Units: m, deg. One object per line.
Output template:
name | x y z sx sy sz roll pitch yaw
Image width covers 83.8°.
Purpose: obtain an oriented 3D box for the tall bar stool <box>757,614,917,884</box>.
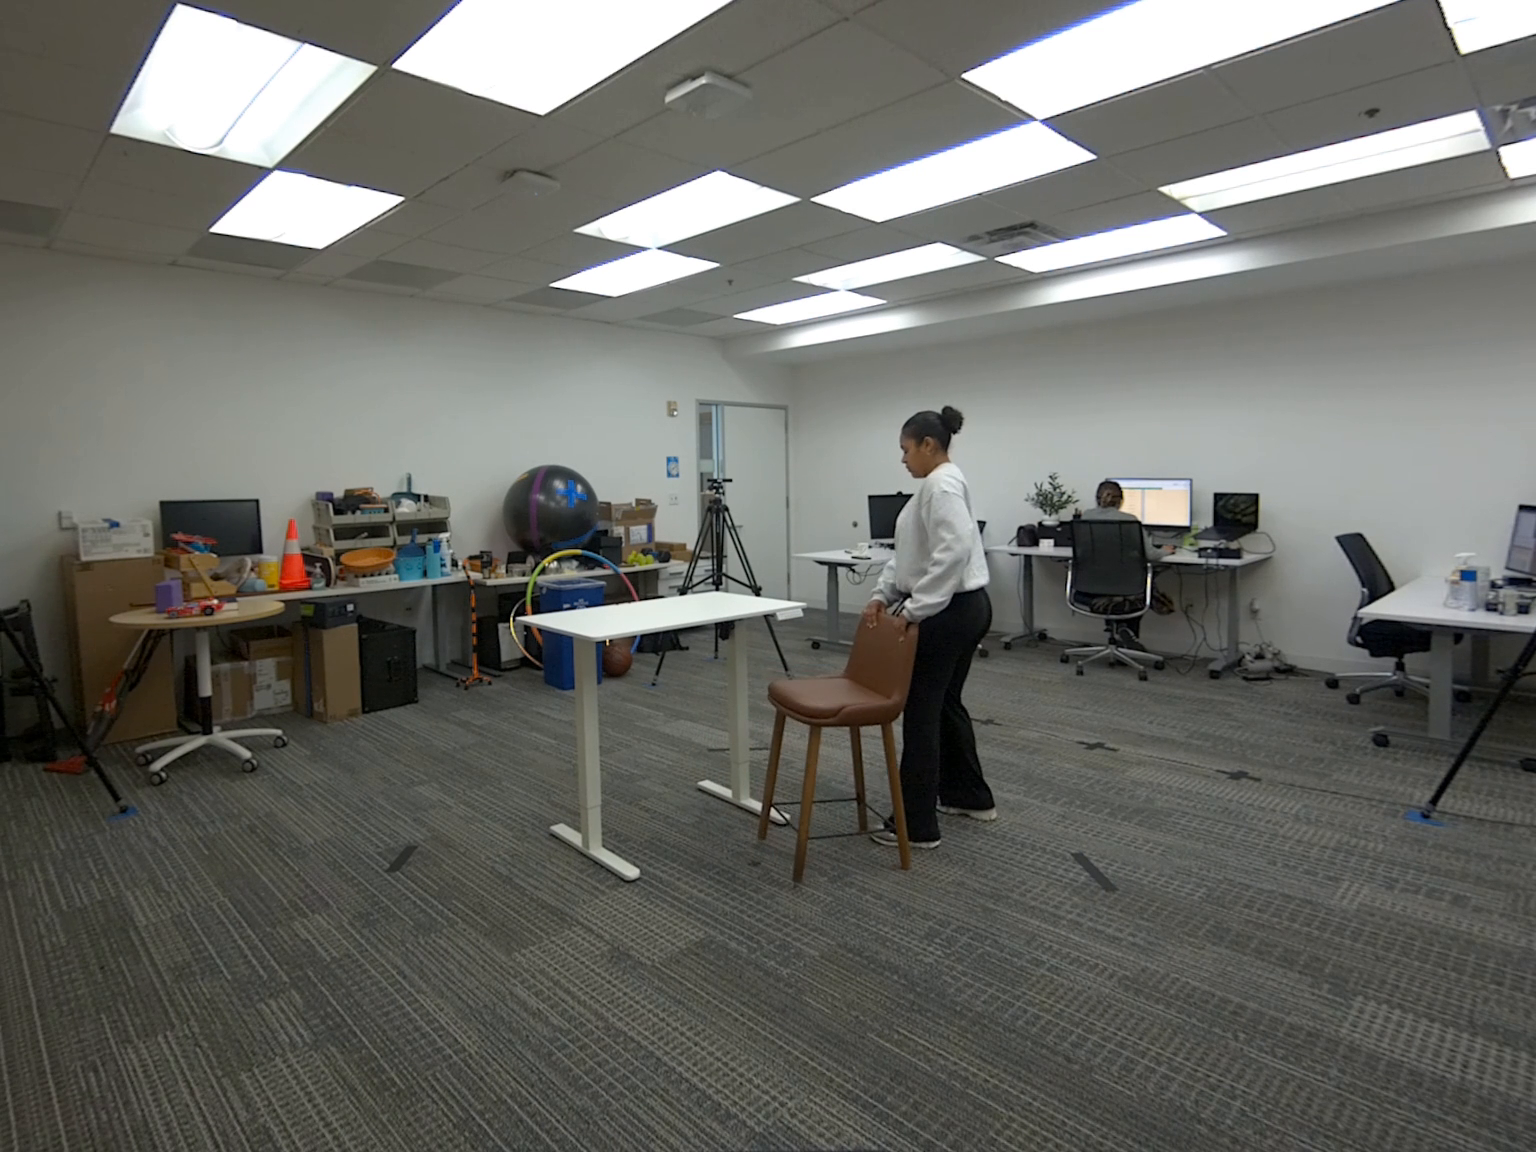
tall bar stool | 0.260 0.593 3.136 0.460 0.888 0.465 2 3 -17
